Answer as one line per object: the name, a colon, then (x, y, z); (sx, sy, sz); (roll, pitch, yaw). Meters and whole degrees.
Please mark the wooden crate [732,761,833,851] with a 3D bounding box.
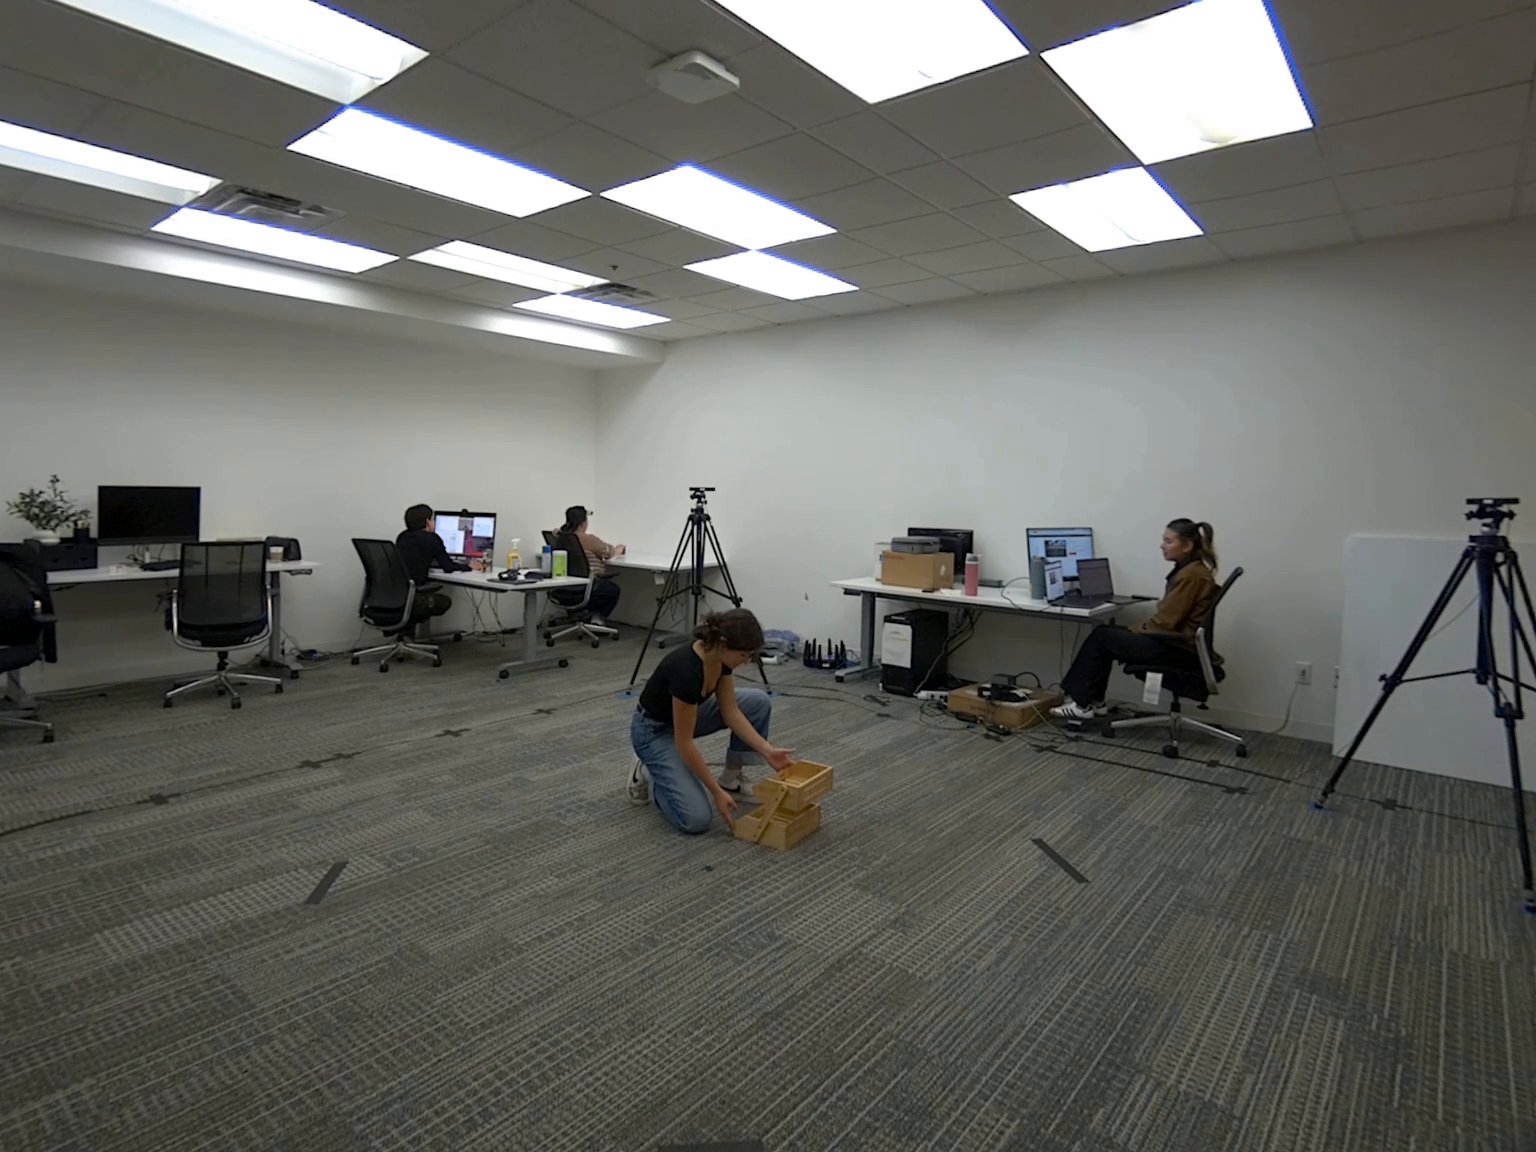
wooden crate: (0.053, 0.904, 3.453); (0.311, 0.272, 0.315); (5, 5, 32)
